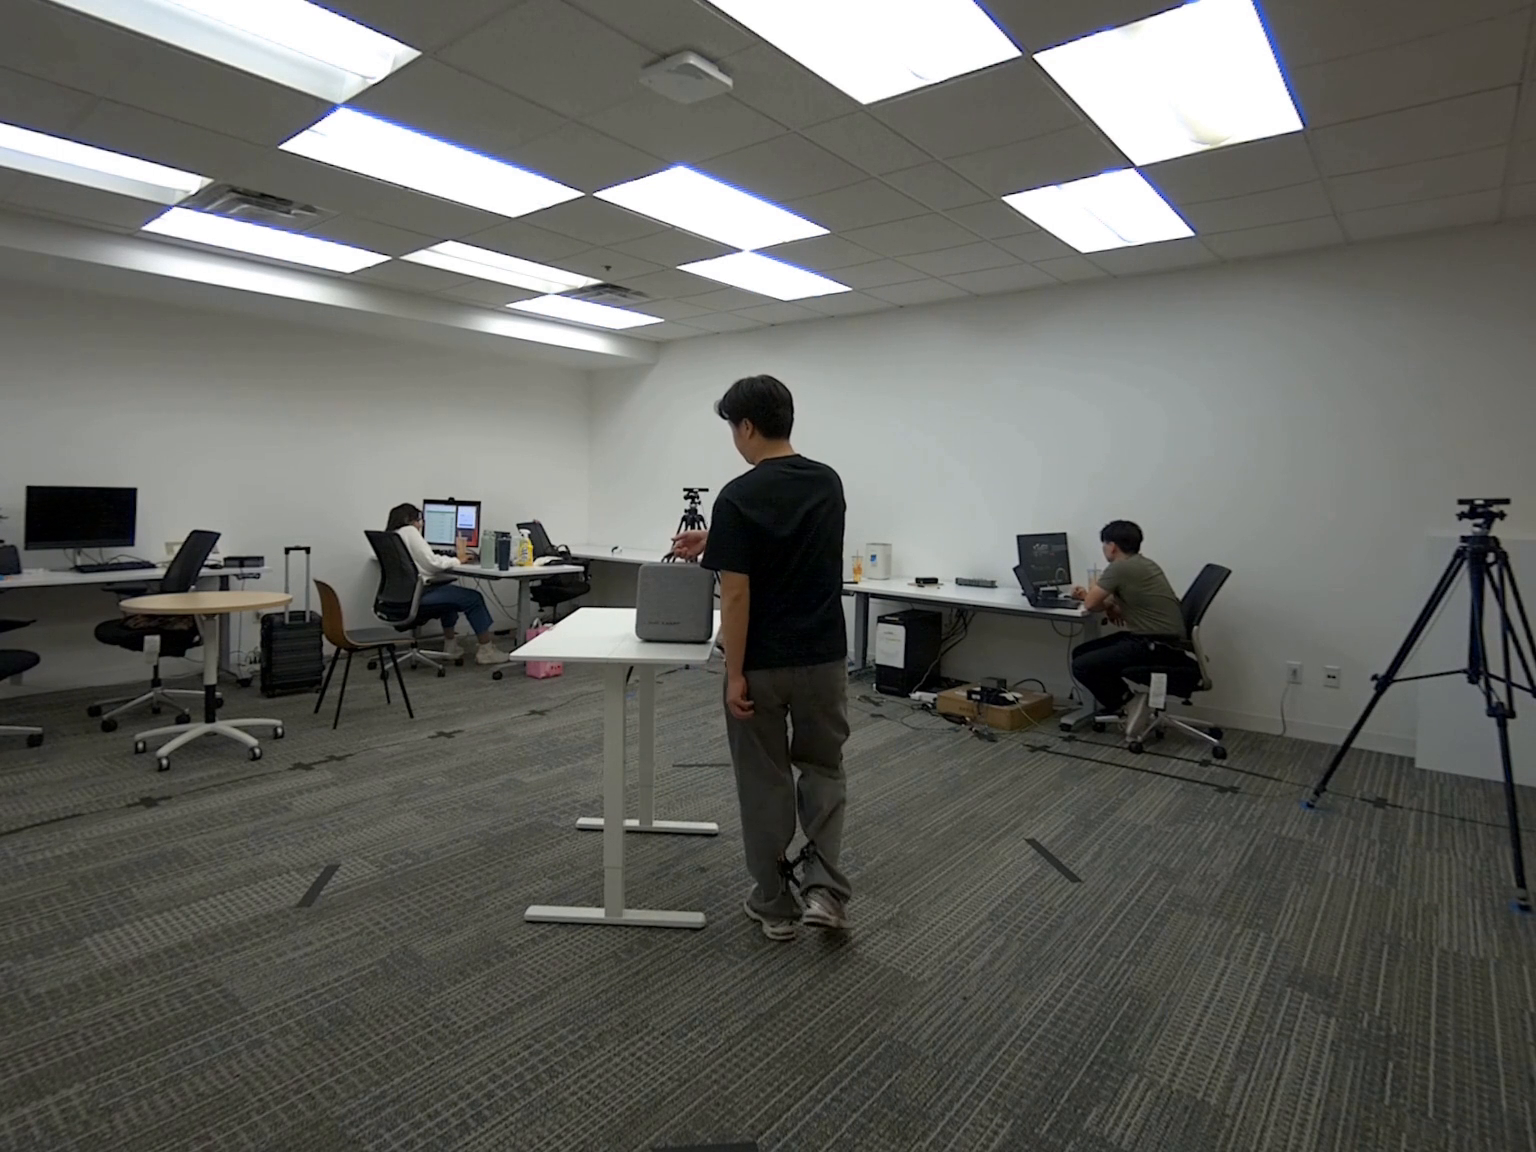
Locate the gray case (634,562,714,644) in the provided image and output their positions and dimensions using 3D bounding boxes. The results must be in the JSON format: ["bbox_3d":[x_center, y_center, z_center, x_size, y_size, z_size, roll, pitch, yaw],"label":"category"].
[{"bbox_3d":[-0.317,0.075,2.823,0.266,0.289,0.101,1,-6,10],"label":"gray case"}]
